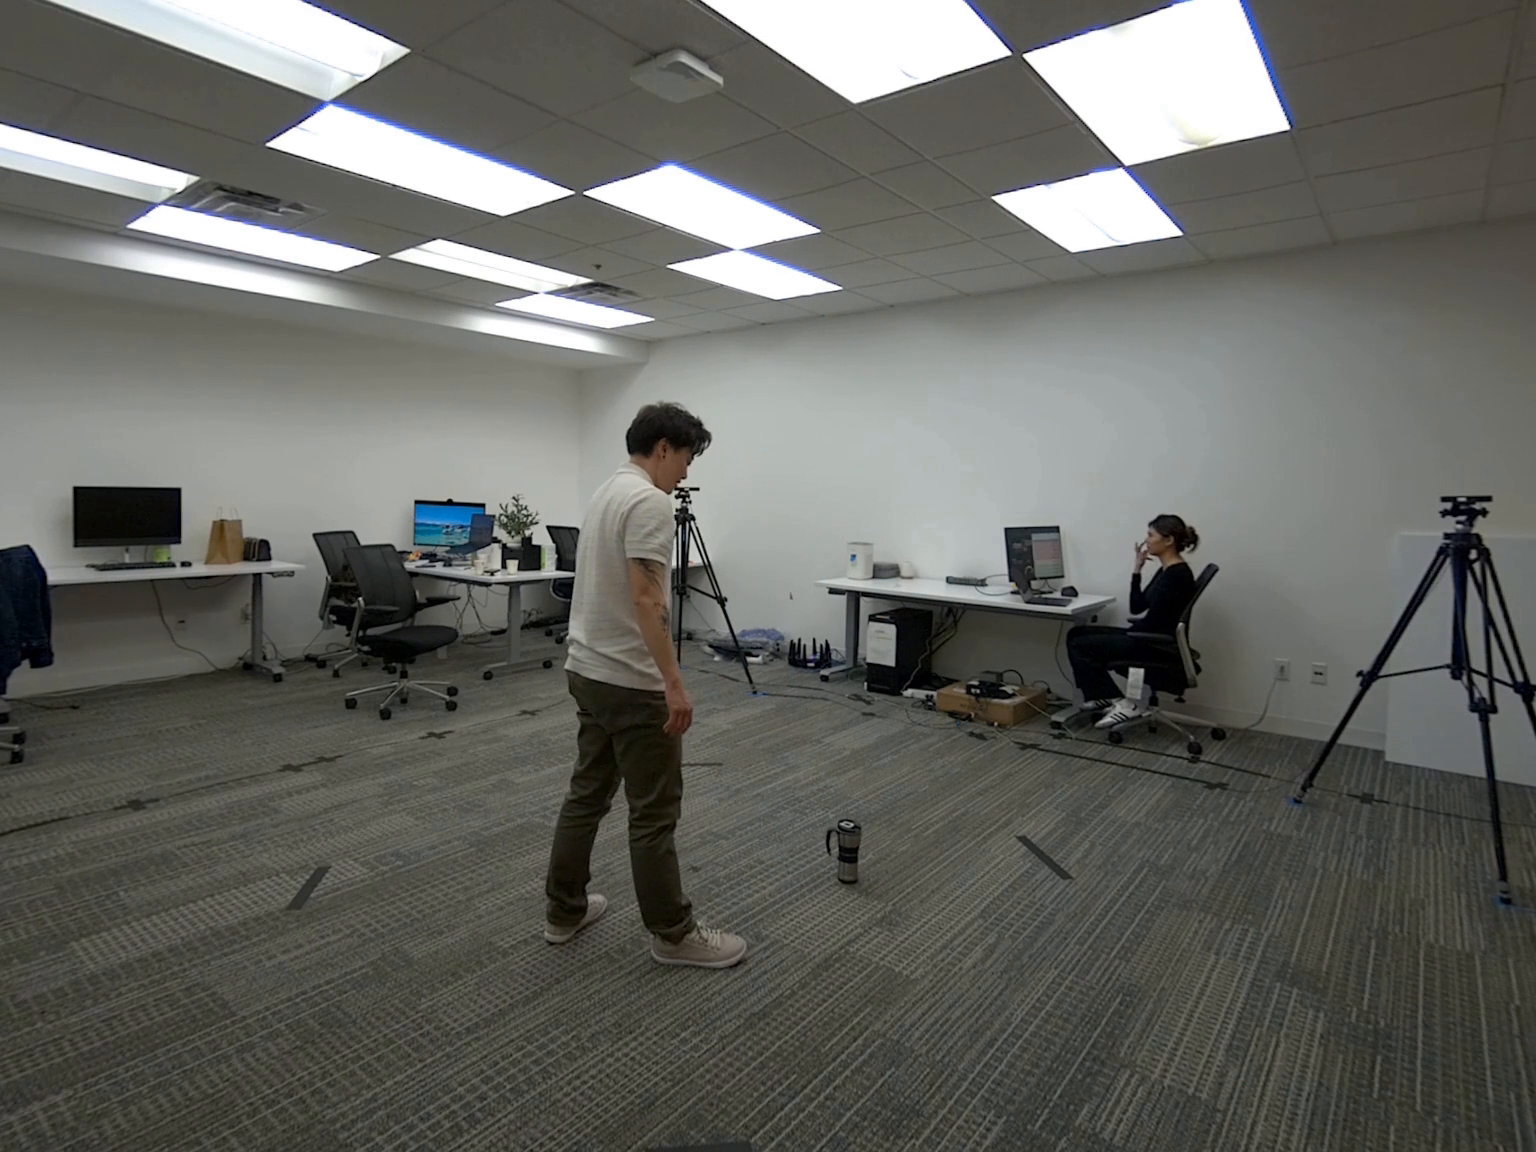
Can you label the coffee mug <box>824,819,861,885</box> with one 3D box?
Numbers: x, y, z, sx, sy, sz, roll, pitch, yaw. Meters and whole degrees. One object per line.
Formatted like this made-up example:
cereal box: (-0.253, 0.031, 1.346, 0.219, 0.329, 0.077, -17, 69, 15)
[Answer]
coffee mug: (0.266, 0.986, 3.047, 0.126, 0.201, 0.086, 8, 10, 32)
